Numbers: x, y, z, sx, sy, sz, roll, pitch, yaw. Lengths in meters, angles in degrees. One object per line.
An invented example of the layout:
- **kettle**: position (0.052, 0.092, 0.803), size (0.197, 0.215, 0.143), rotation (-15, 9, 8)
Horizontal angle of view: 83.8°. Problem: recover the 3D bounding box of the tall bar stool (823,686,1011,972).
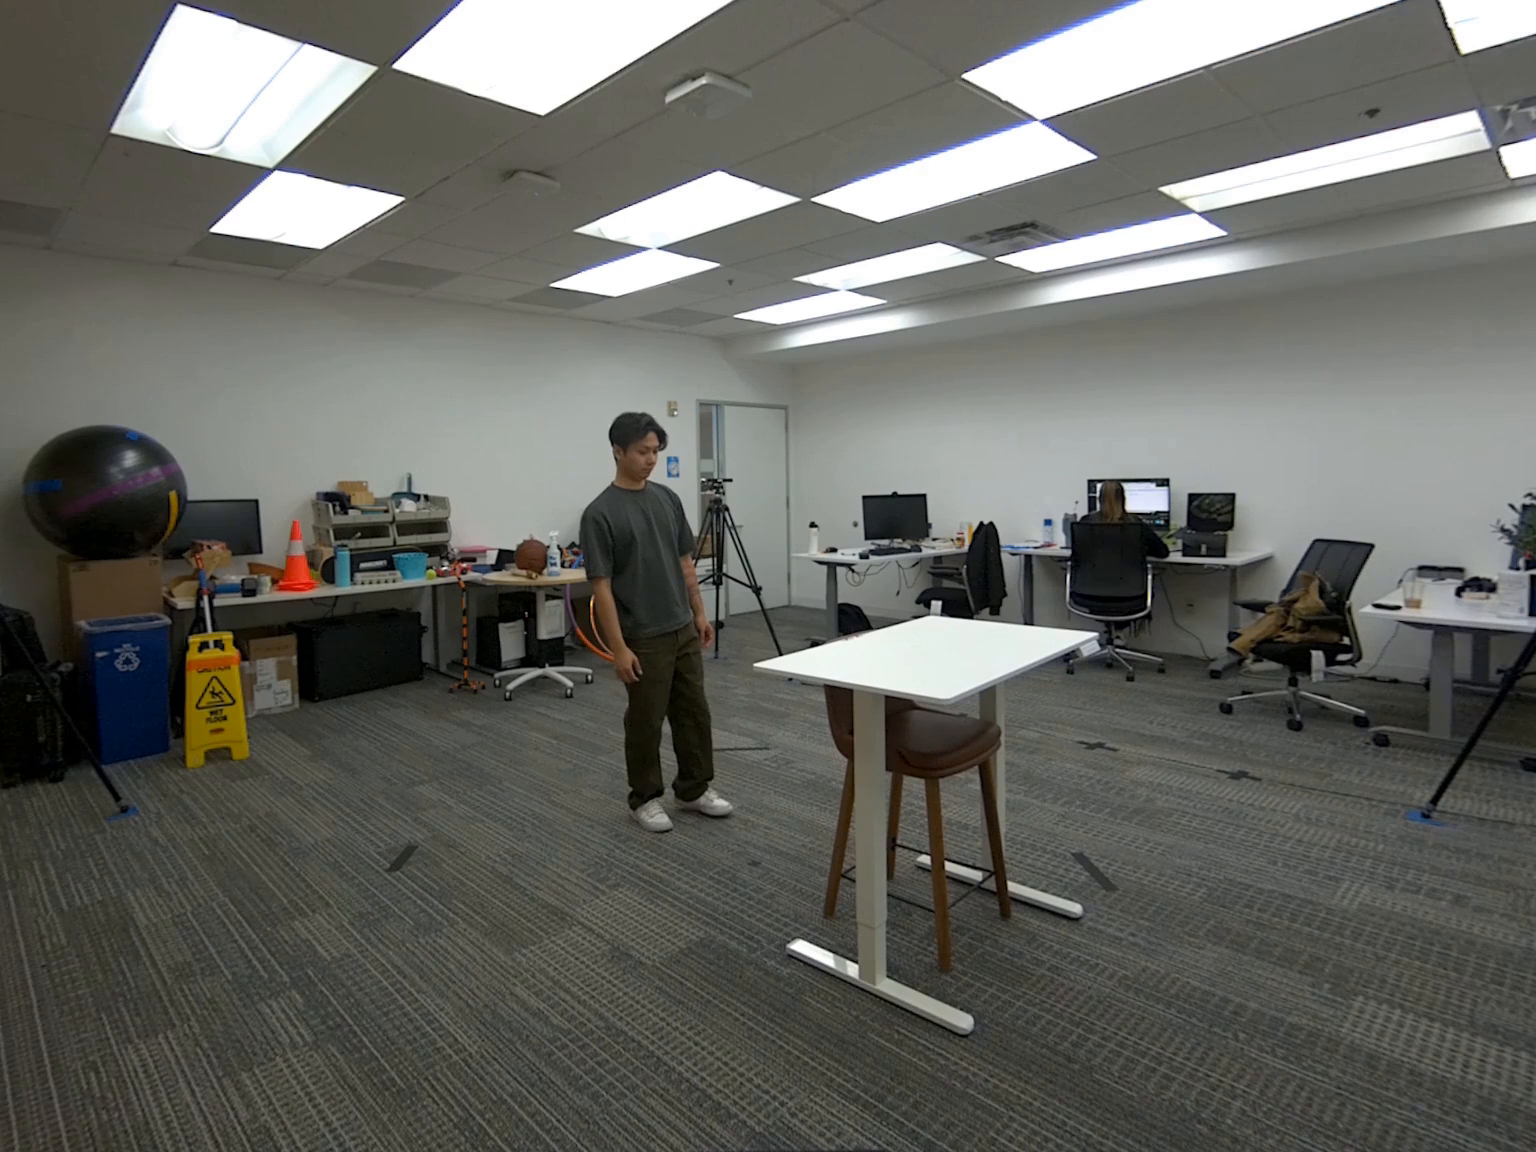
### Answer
- **tall bar stool**: position (0.457, 0.650, 2.680), size (0.481, 0.888, 0.444), rotation (0, 4, 42)
